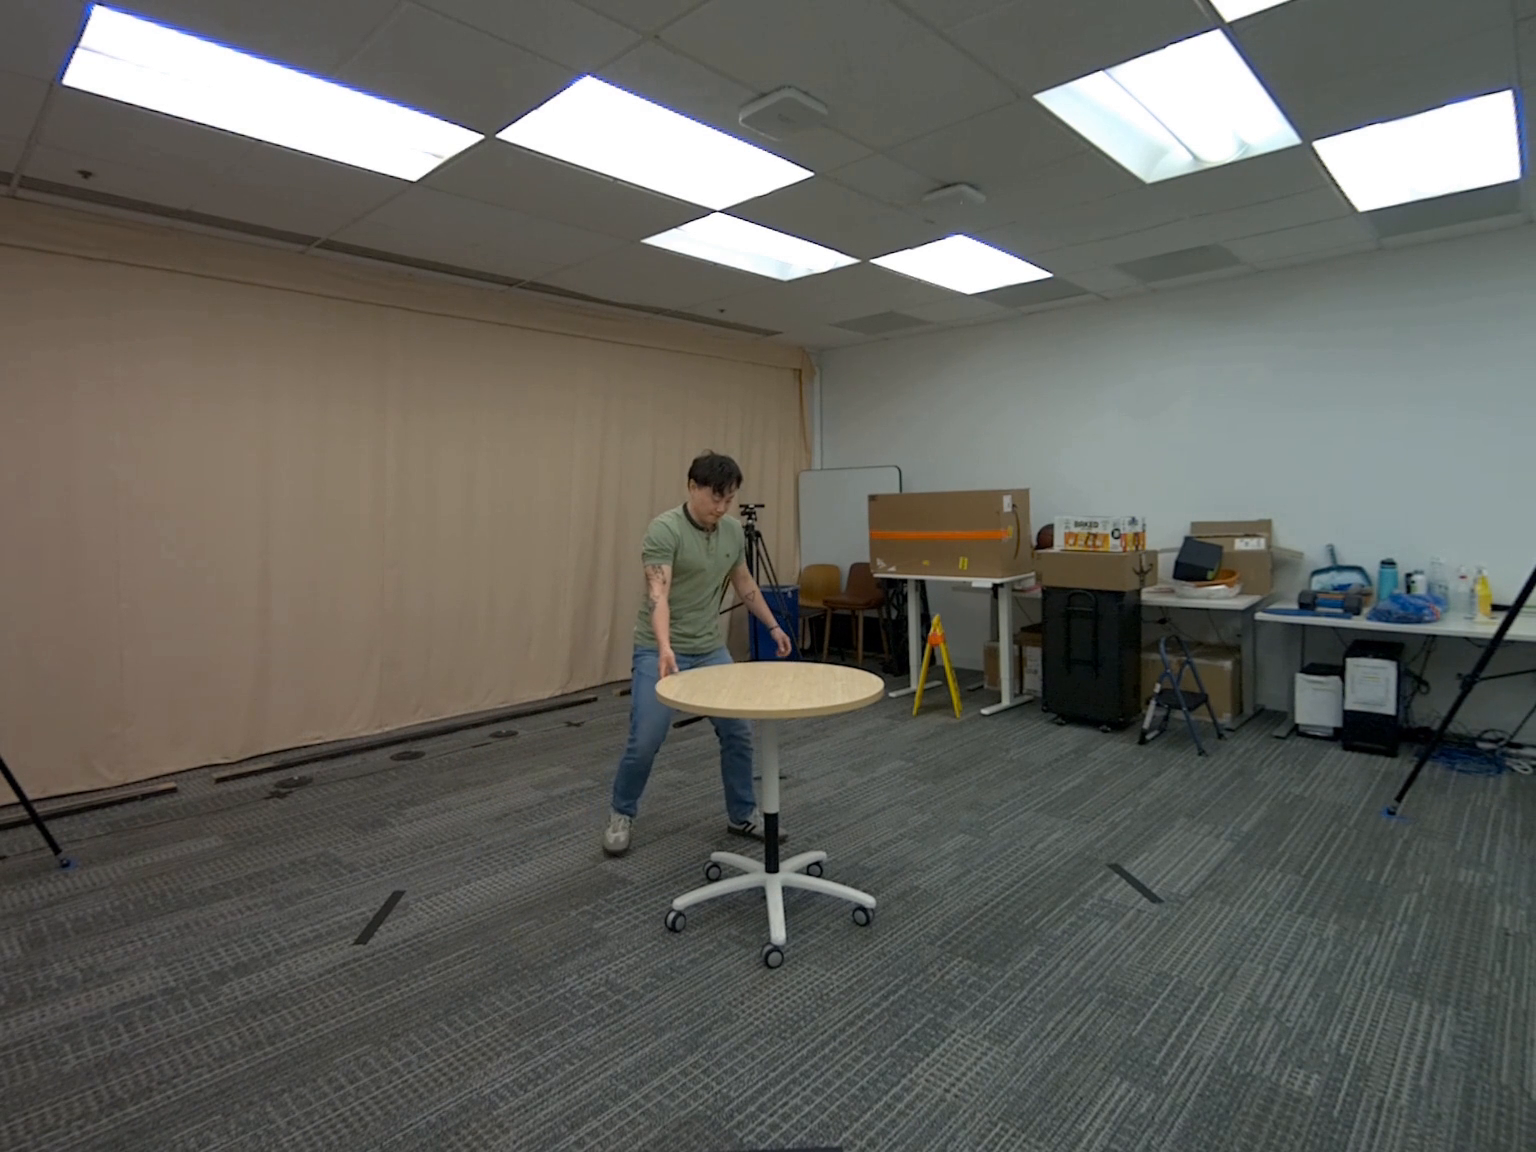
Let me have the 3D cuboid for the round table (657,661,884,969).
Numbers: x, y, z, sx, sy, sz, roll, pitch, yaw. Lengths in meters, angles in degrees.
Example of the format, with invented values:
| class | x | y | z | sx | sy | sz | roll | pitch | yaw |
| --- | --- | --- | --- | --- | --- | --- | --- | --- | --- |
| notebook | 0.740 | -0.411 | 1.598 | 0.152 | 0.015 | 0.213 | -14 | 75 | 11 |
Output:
| class | x | y | z | sx | sy | sz | roll | pitch | yaw |
| --- | --- | --- | --- | --- | --- | --- | --- | --- | --- |
| round table | 0.017 | 0.758 | 2.860 | 0.763 | 0.792 | 0.767 | -1 | 4 | -2 |
